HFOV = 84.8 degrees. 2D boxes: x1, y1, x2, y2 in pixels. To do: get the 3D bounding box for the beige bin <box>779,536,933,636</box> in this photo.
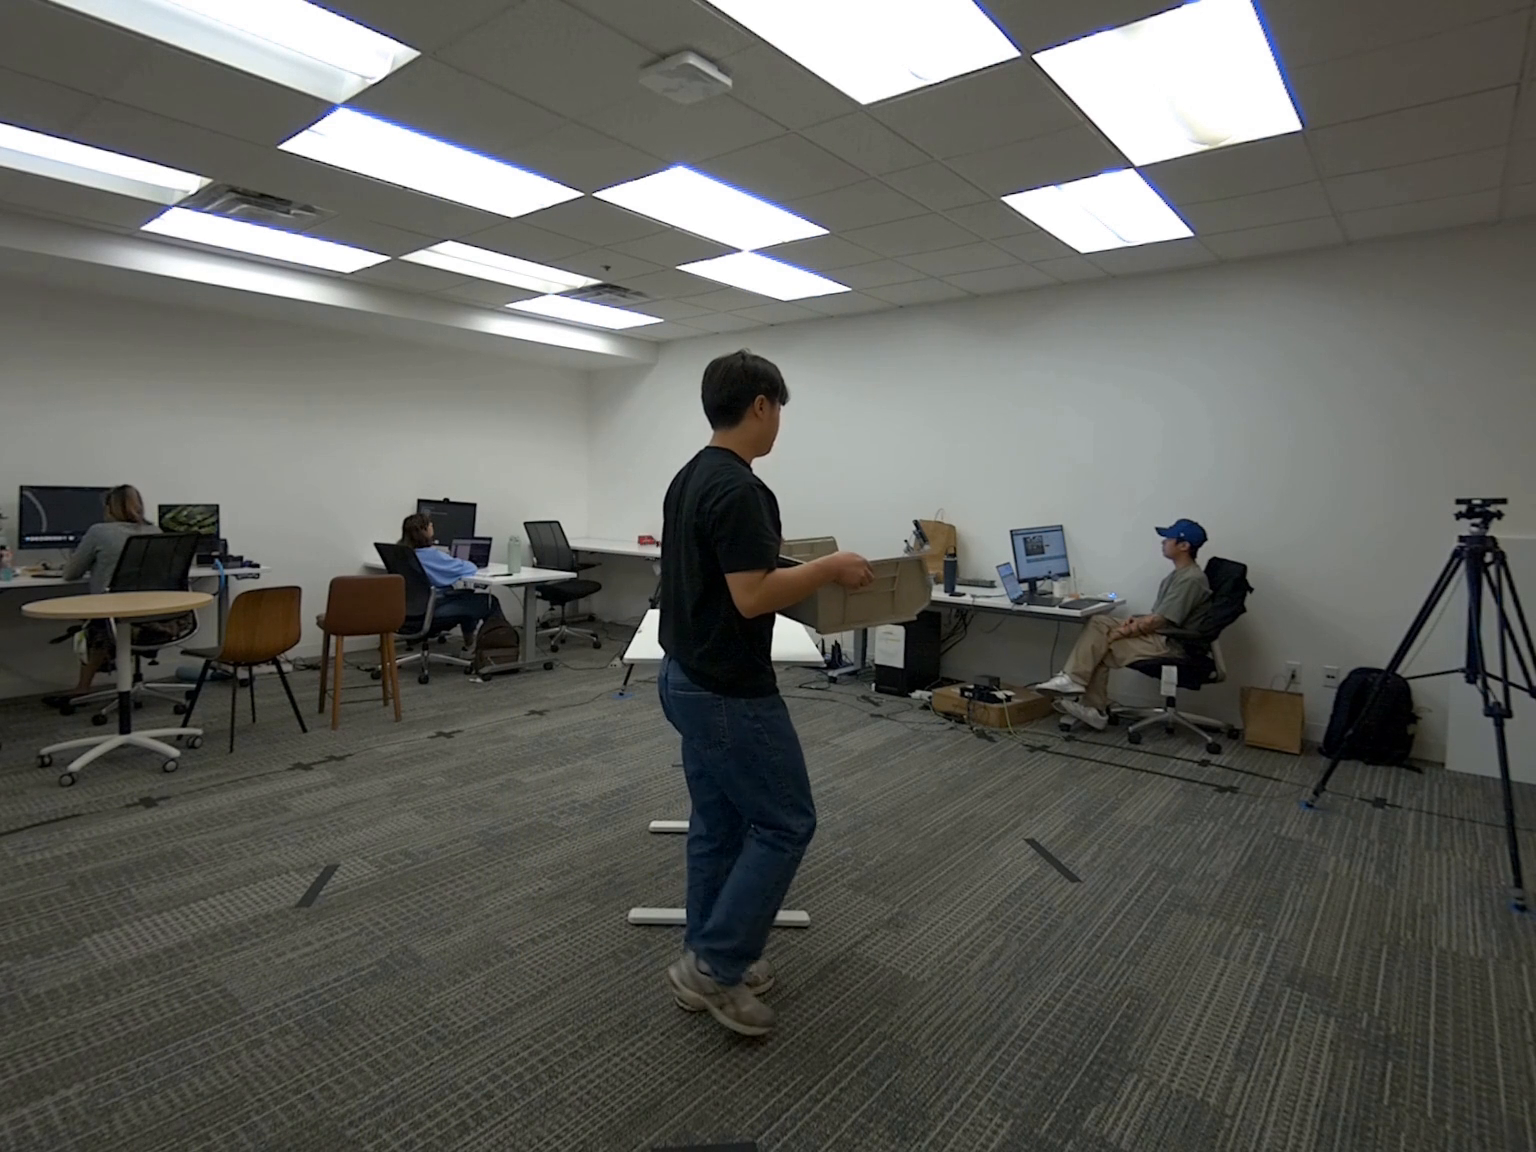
[{"bbox_3d":[0.177,0.015,2.412,0.368,0.187,0.436,-7,13,-28],"label":"beige bin"}]
